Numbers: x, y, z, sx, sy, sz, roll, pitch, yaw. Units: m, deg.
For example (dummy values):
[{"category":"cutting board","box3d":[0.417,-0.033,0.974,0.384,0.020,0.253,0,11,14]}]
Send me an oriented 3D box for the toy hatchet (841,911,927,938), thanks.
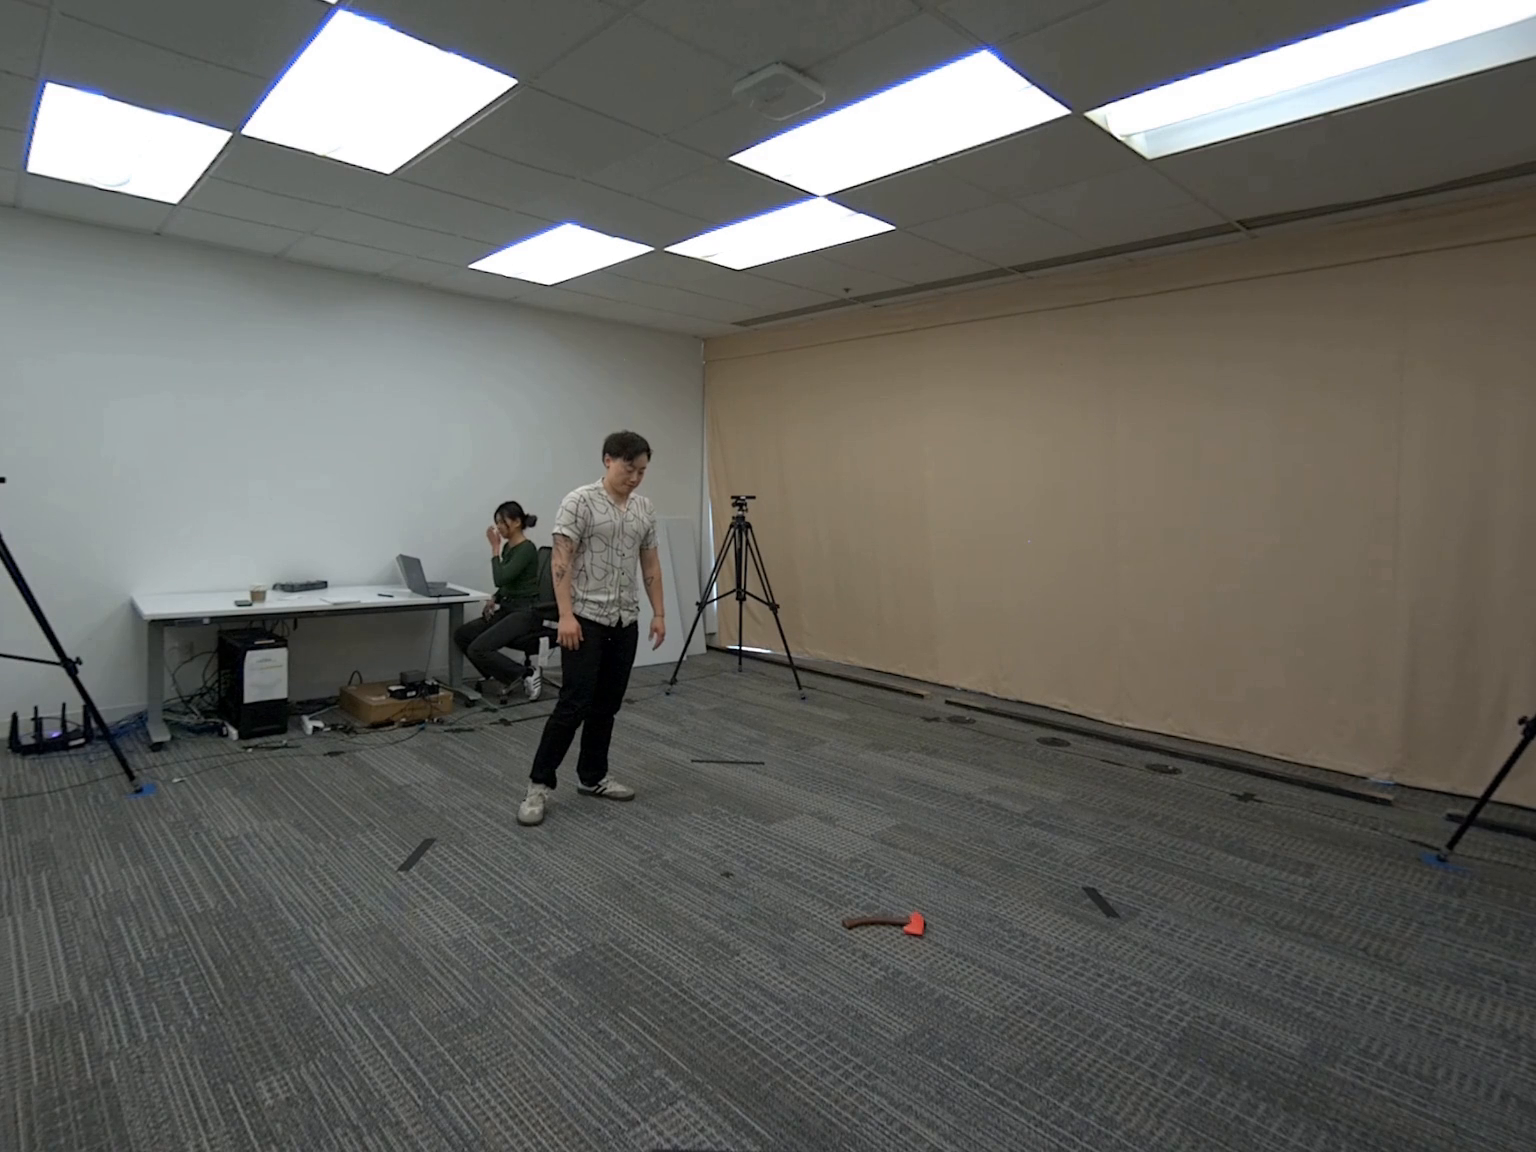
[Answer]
[{"category":"toy hatchet","box3d":[0.384,1.141,2.722,0.267,0.029,0.133,-2,9,-14]}]
